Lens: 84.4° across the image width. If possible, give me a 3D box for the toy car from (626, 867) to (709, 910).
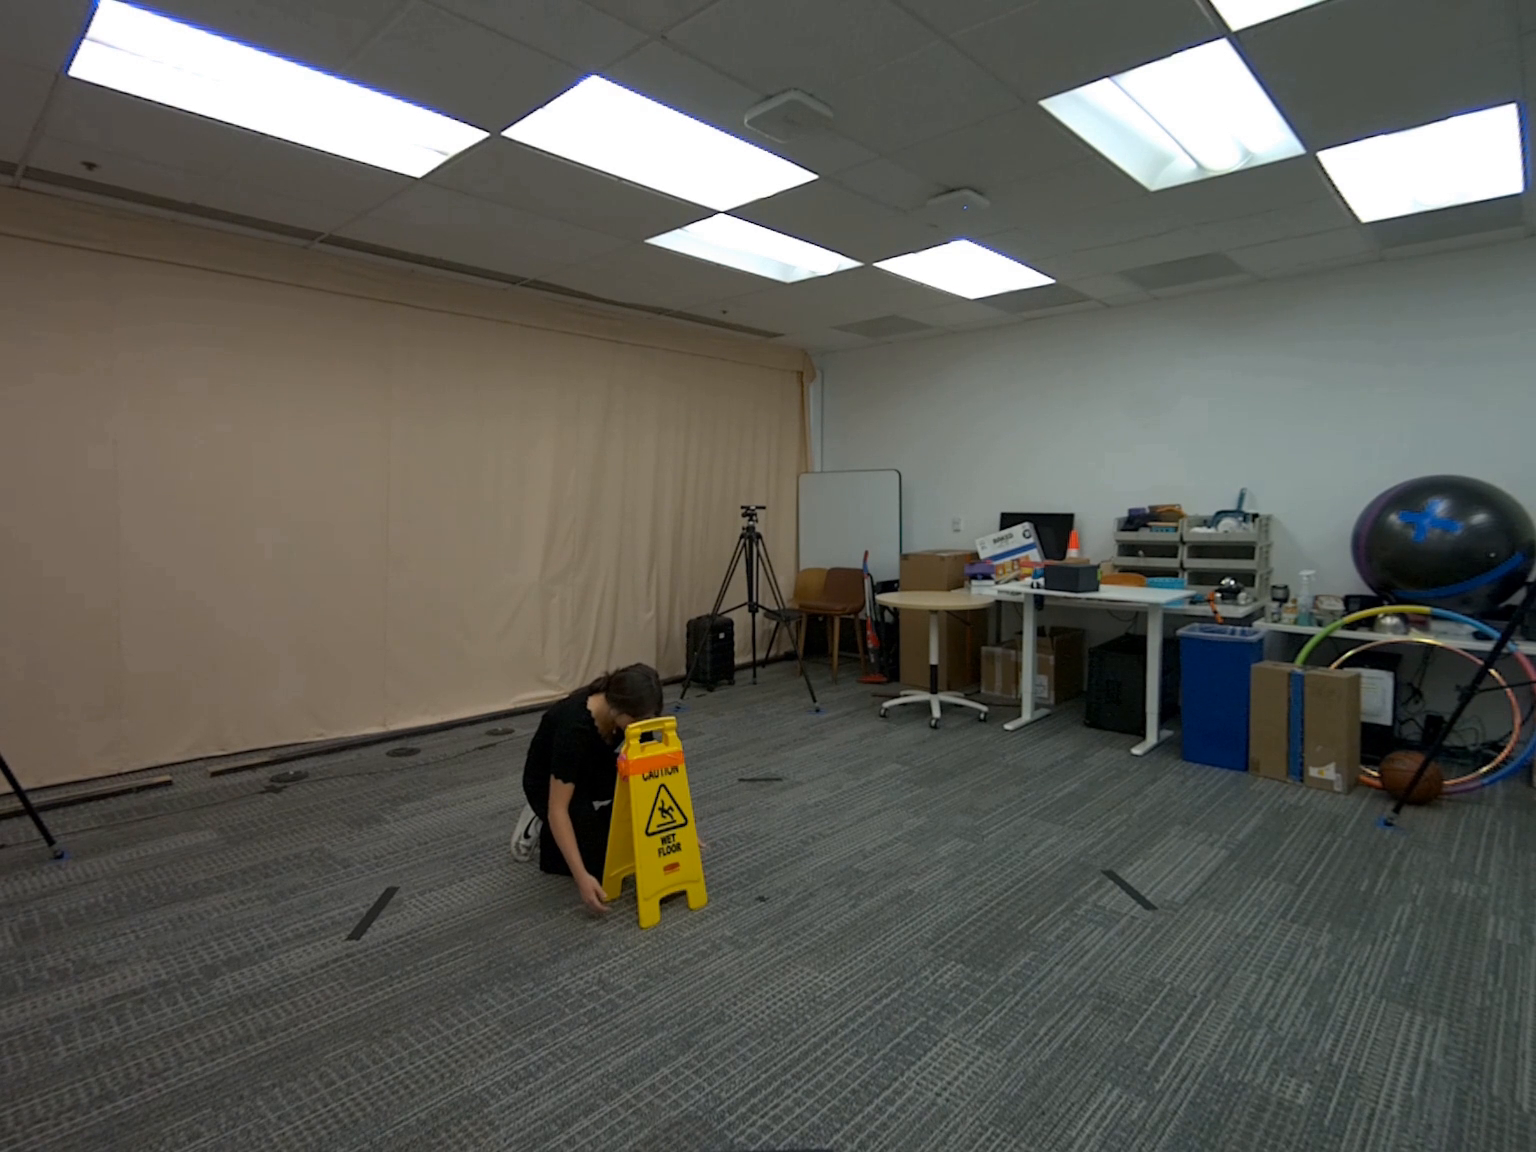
[{"bbox_3d":[-0.360,1.109,3.021,0.246,0.083,0.134,10,-2,-37],"label":"toy car"}]
